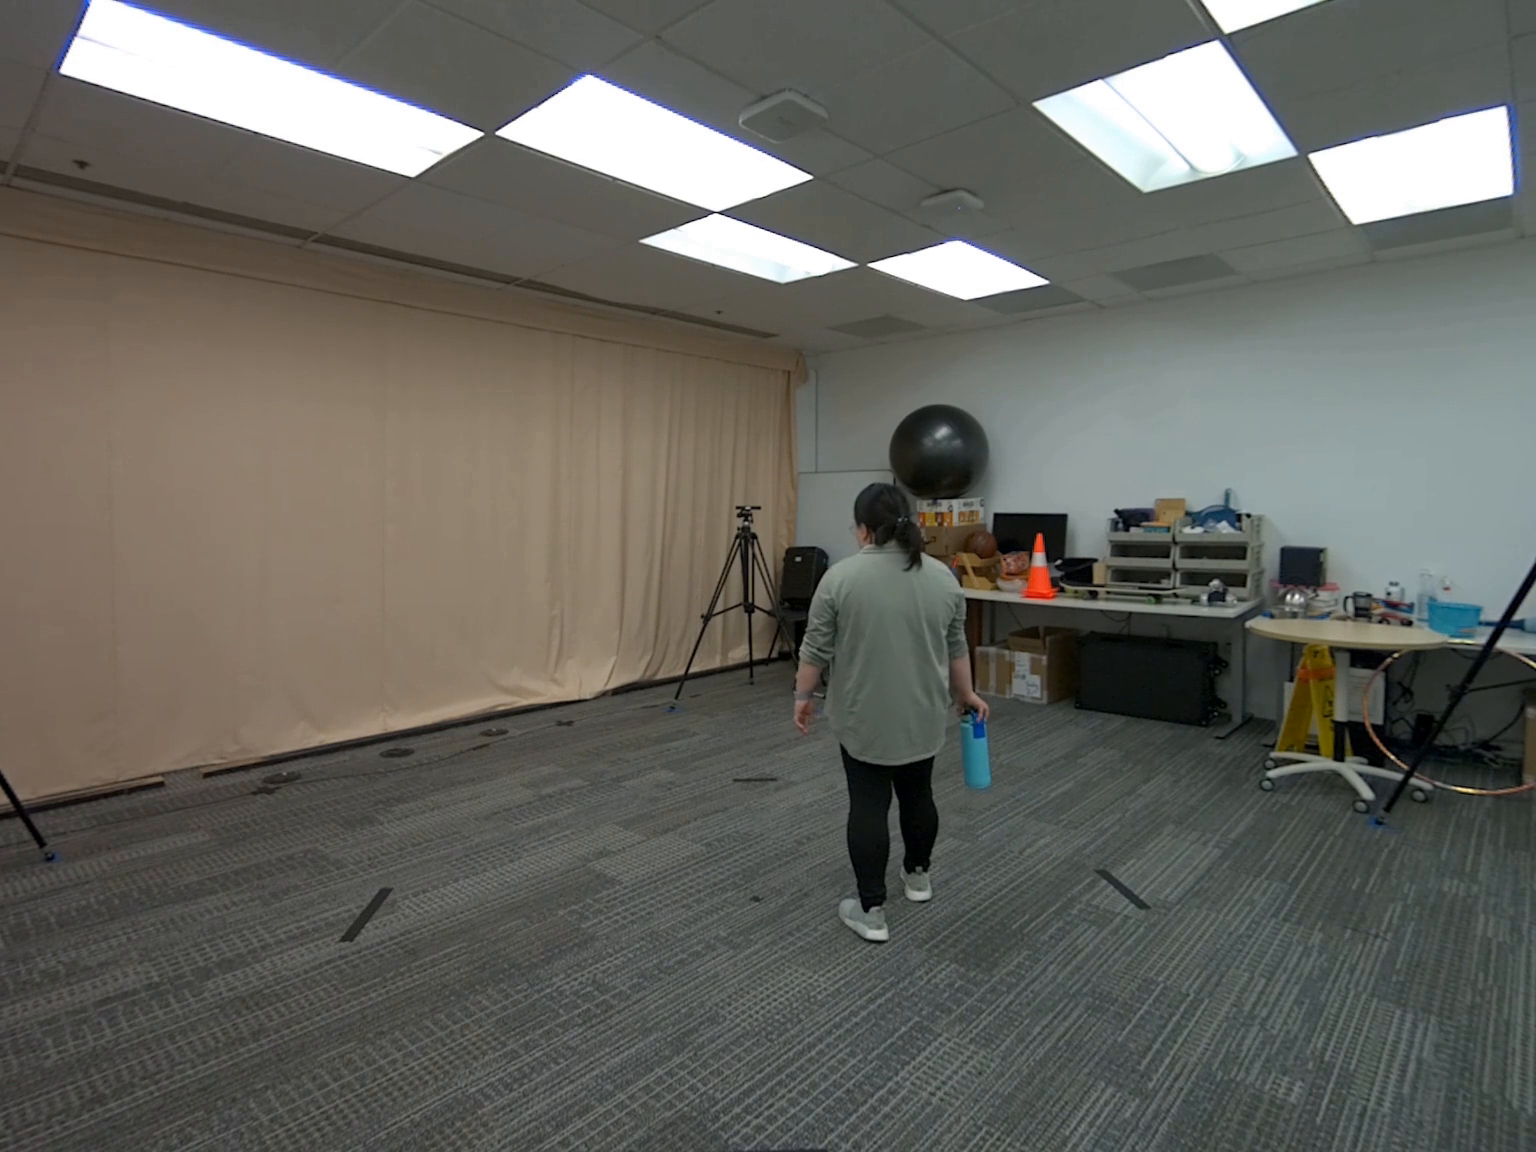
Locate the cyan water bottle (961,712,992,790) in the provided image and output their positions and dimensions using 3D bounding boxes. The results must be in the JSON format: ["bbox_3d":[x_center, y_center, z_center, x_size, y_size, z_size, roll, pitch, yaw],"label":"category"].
[{"bbox_3d":[0.748,0.604,3.009,0.092,0.283,0.092,-3,1,-2],"label":"cyan water bottle"}]
